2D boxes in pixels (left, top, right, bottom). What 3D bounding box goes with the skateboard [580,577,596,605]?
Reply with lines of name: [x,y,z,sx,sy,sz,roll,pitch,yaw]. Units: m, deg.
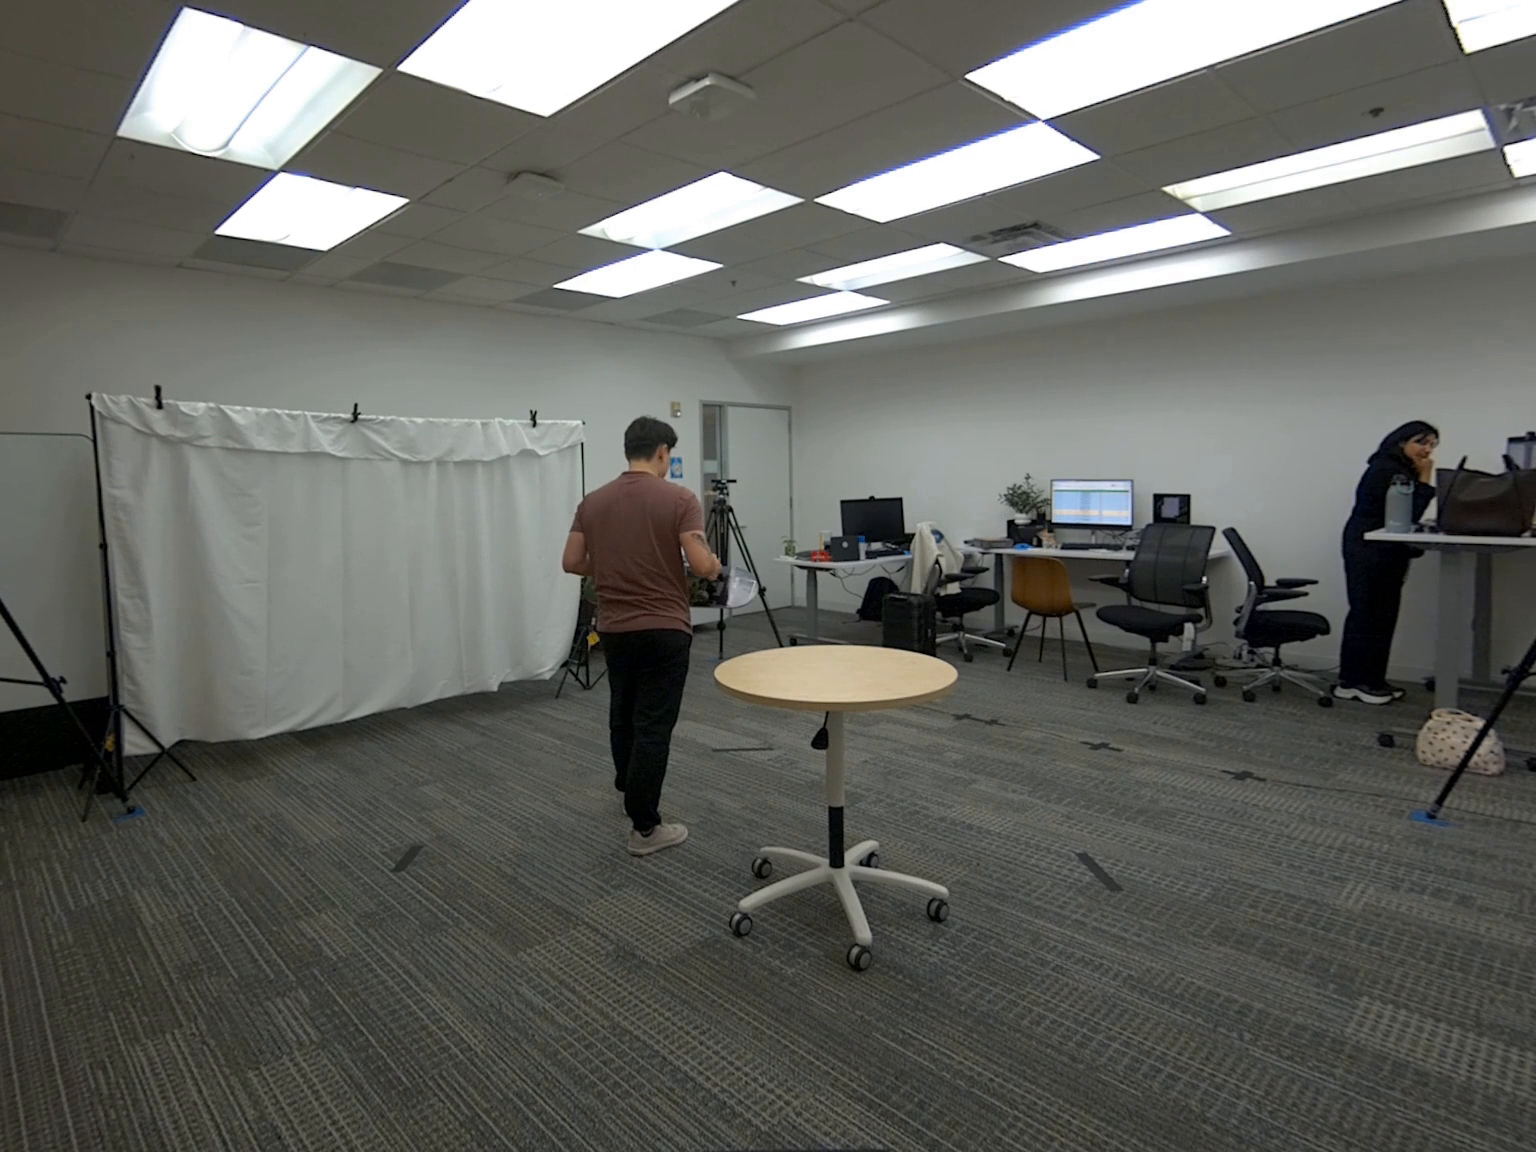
skateboard: [-0.418,0.020,3.542,0.799,0.197,0.106,0,-36,19]
